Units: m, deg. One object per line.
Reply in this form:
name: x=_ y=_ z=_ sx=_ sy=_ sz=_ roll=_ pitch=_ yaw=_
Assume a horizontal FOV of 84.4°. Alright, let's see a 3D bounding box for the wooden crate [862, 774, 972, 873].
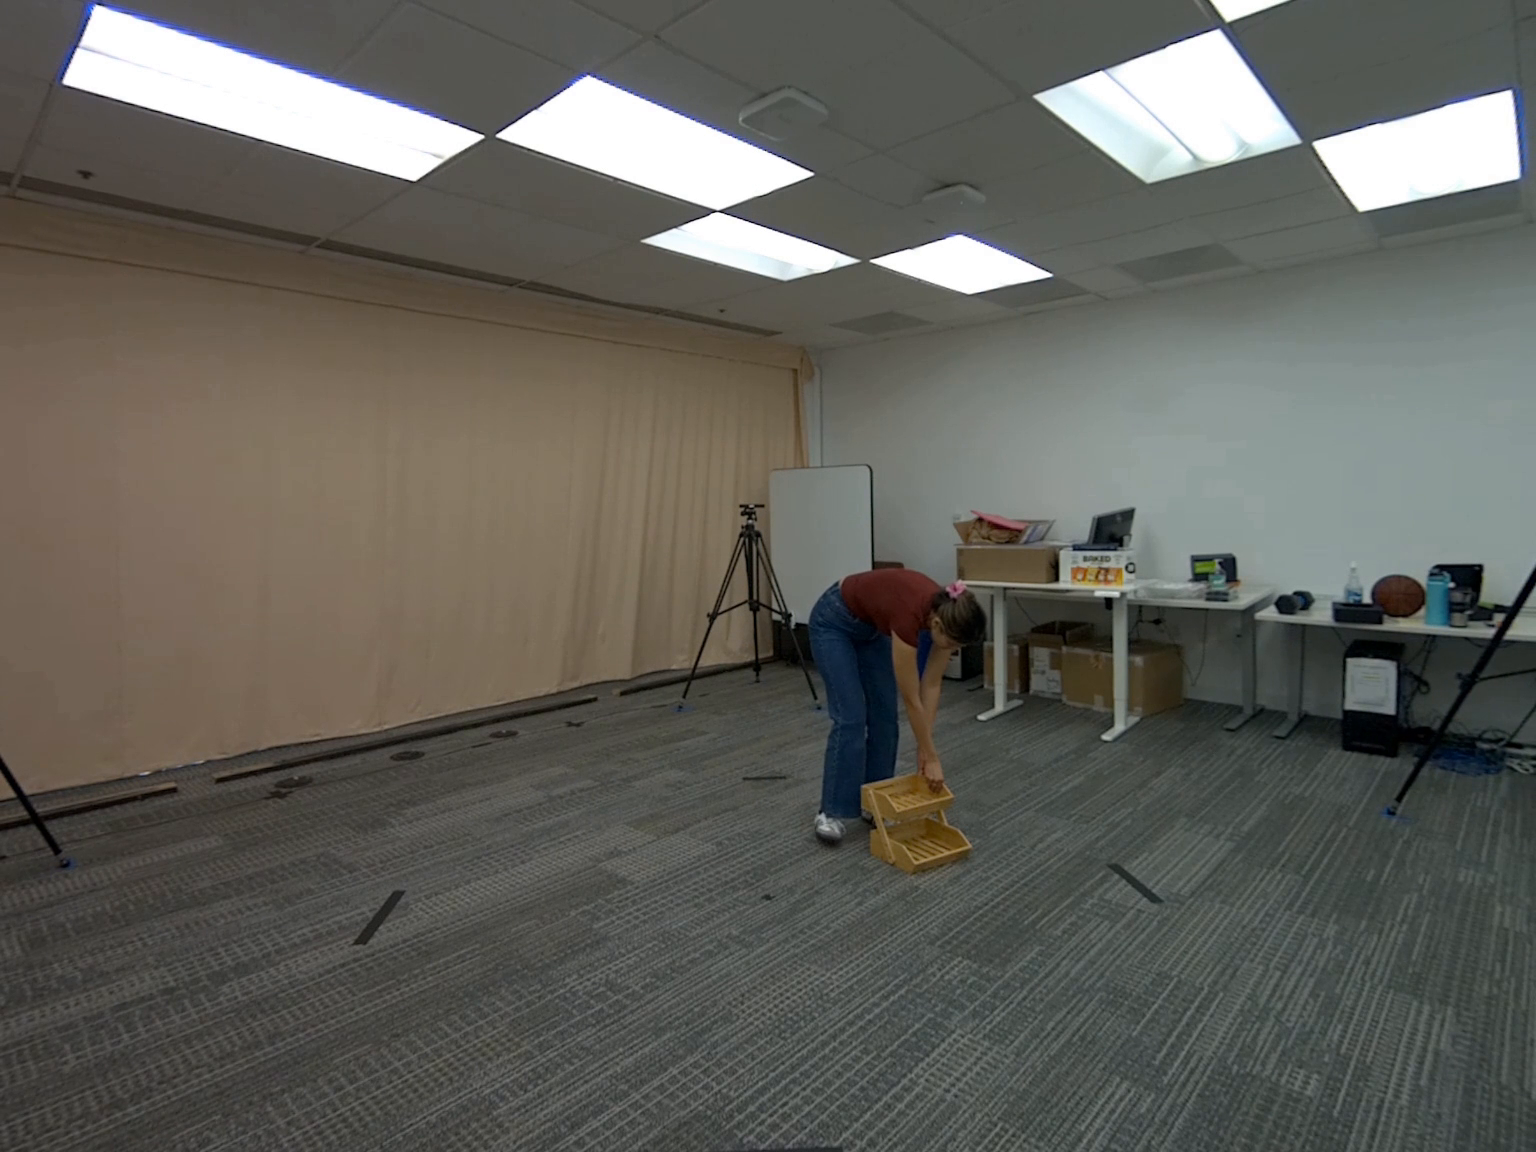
wooden crate: x=0.588 y=0.964 z=3.325 sx=0.315 sy=0.273 sz=0.311 roll=-4 pitch=4 yaw=-33
